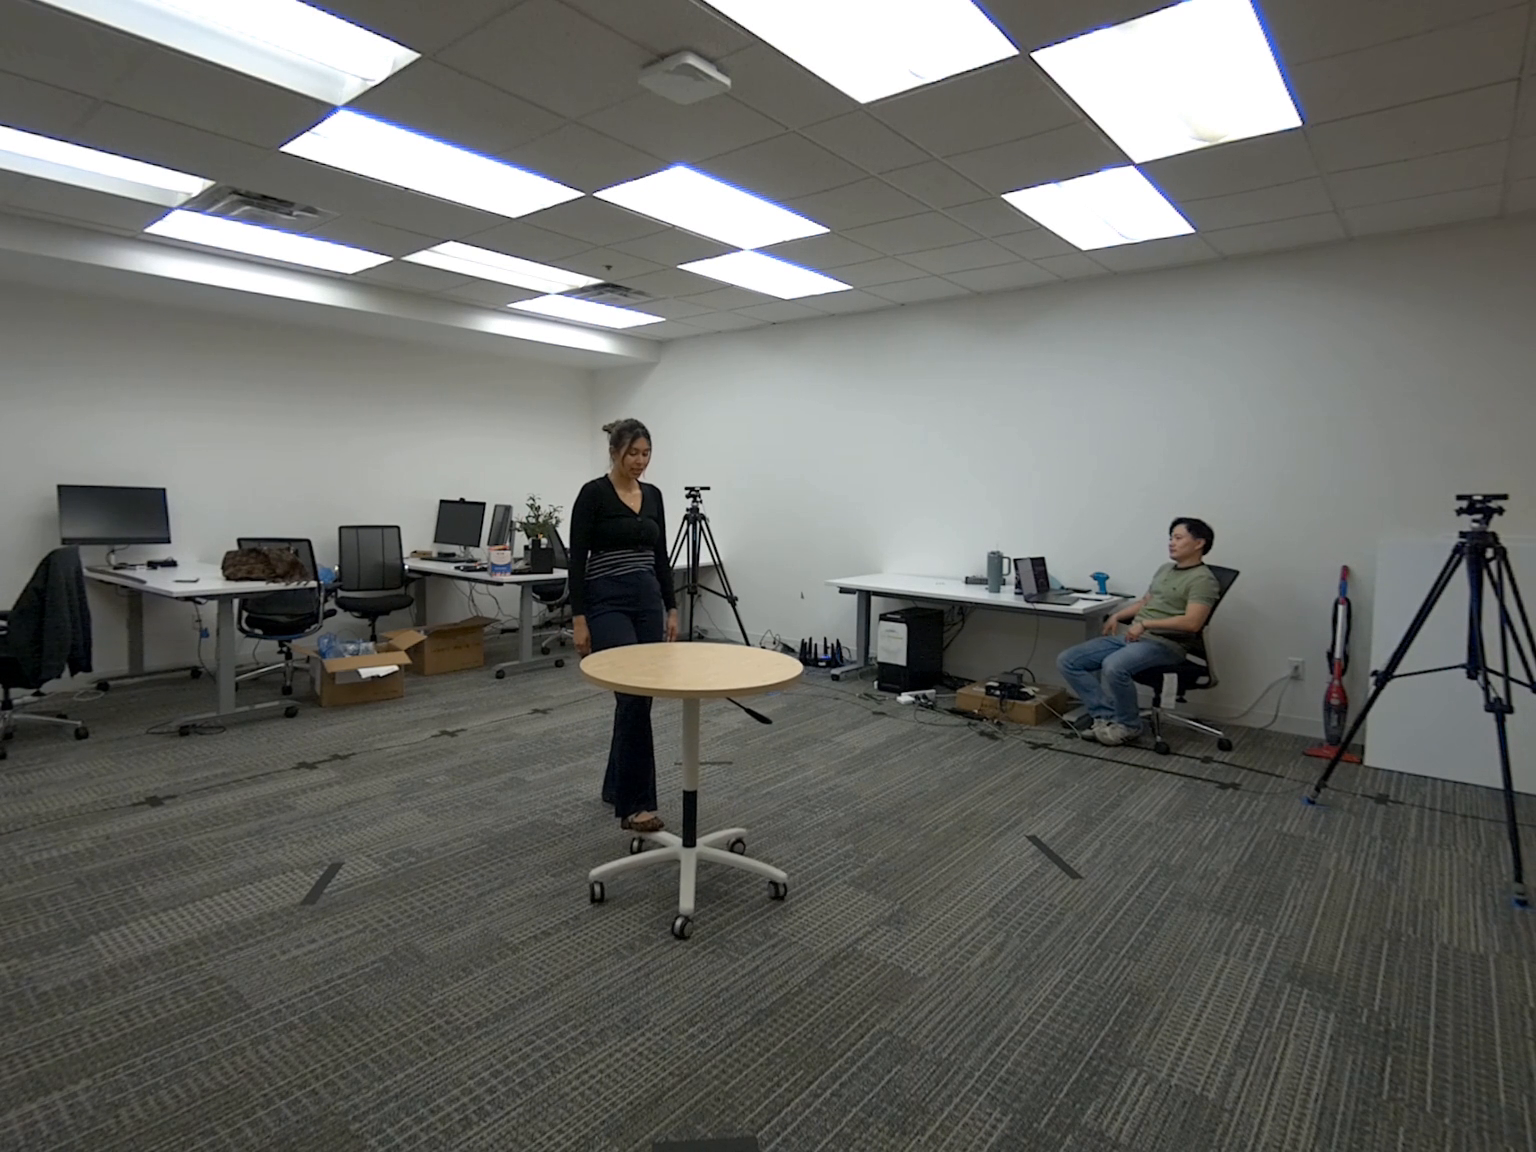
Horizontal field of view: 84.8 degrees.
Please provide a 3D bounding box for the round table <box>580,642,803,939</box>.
[{"bbox_3d":[-0.278,0.691,2.959,0.763,0.791,0.768,1,5,-2],"label":"round table"}]
